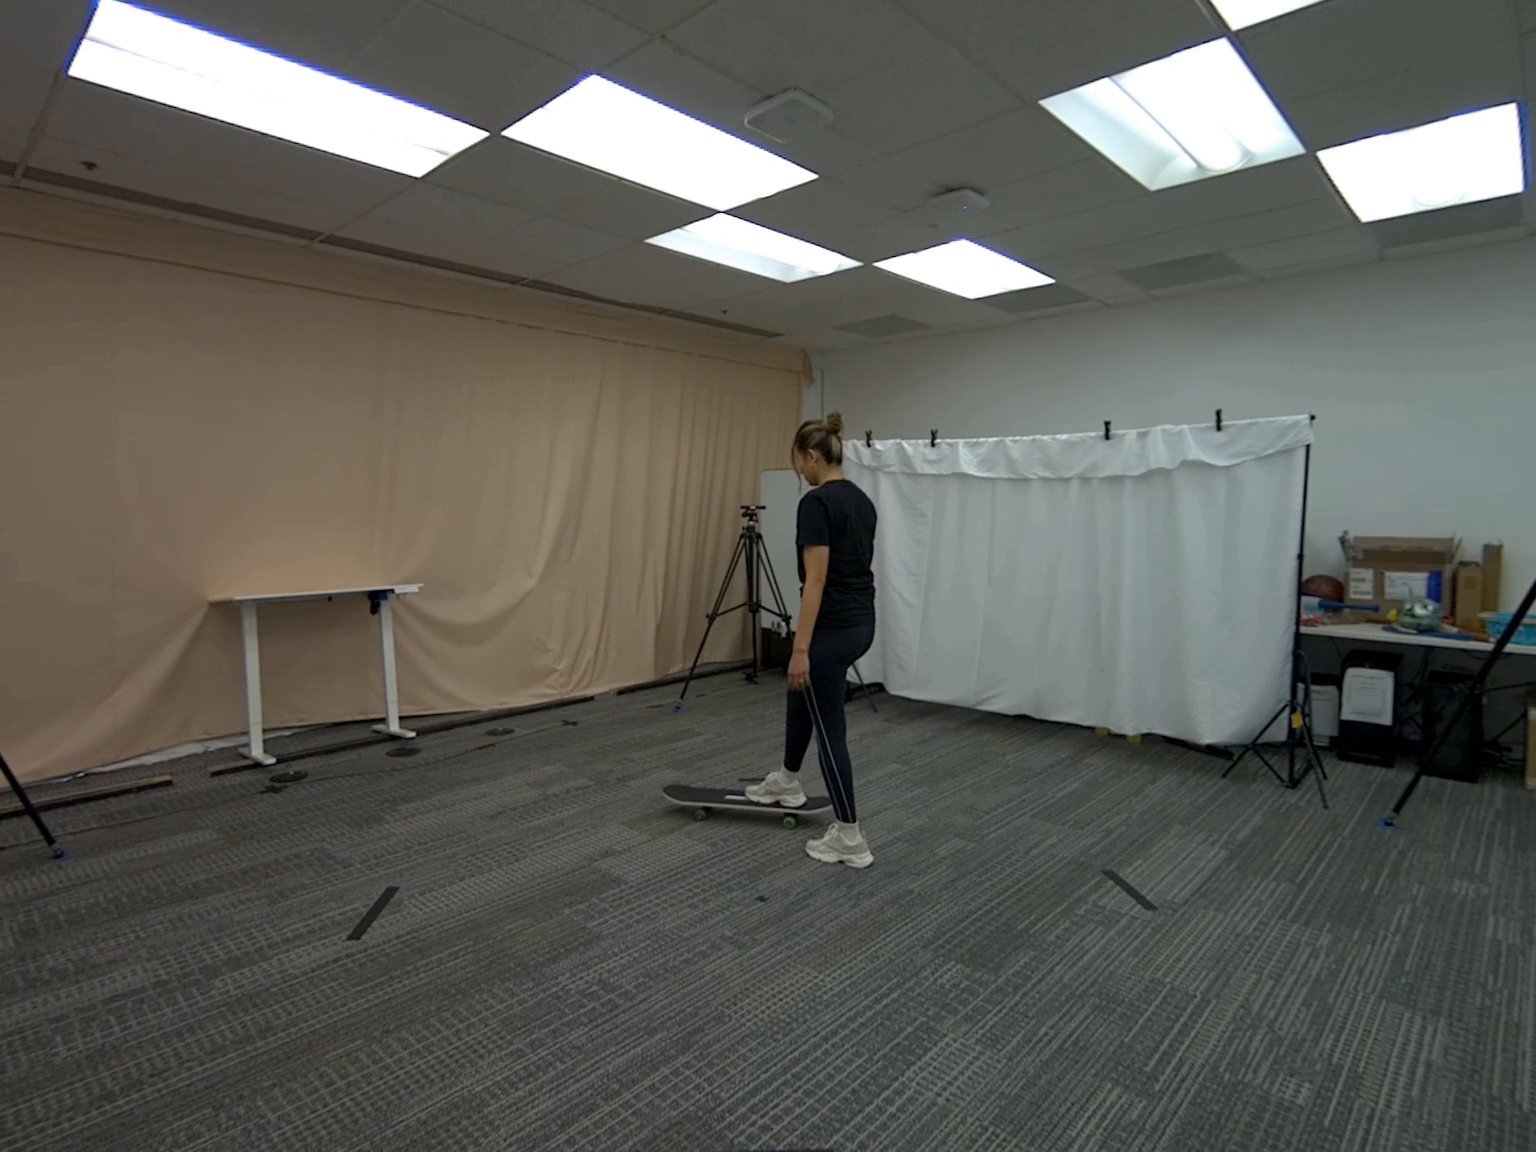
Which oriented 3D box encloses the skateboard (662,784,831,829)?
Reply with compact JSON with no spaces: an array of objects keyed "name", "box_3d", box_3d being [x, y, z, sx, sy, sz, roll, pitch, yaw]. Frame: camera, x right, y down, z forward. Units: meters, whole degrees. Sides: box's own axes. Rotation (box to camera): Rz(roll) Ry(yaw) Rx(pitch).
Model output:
[{"name":"skateboard","box_3d":[-0.075,1.026,3.741,0.797,0.110,0.191,1,5,13]}]
